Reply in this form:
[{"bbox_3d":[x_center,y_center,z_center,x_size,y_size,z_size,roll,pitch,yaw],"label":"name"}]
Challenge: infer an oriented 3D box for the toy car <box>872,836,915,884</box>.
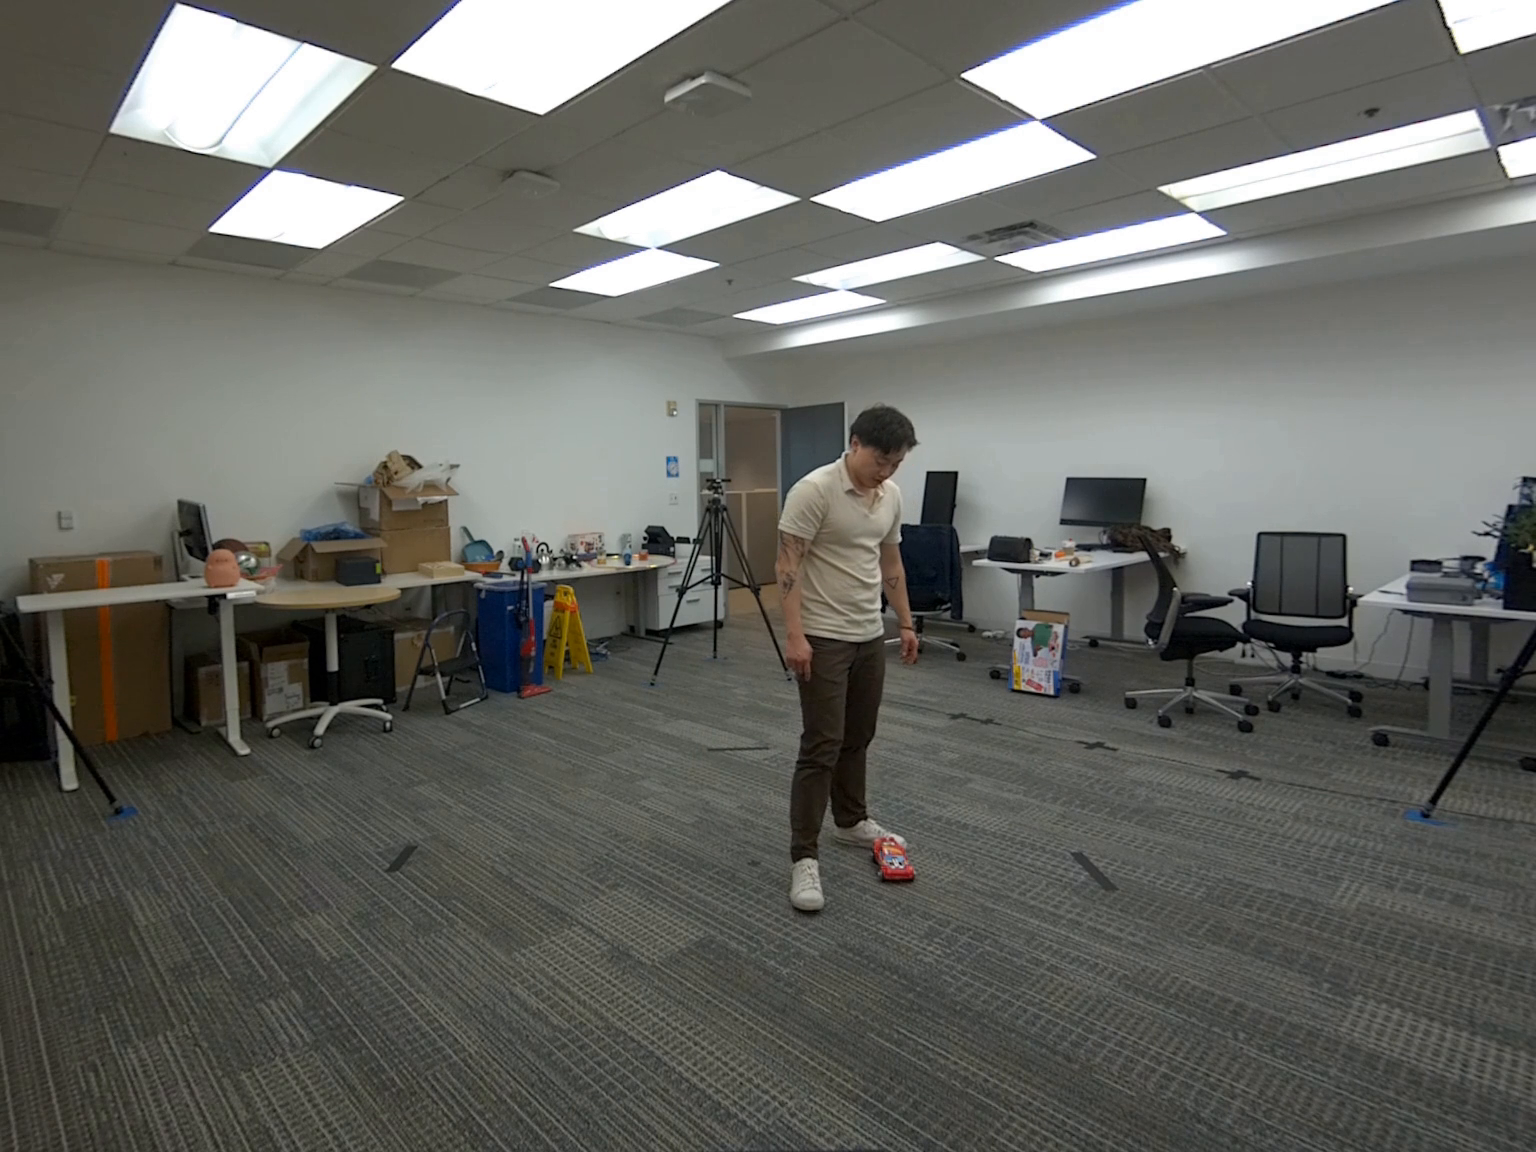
[{"bbox_3d":[0.446,1.014,3.049,0.130,0.082,0.259,-1,17,-3],"label":"toy car"}]
